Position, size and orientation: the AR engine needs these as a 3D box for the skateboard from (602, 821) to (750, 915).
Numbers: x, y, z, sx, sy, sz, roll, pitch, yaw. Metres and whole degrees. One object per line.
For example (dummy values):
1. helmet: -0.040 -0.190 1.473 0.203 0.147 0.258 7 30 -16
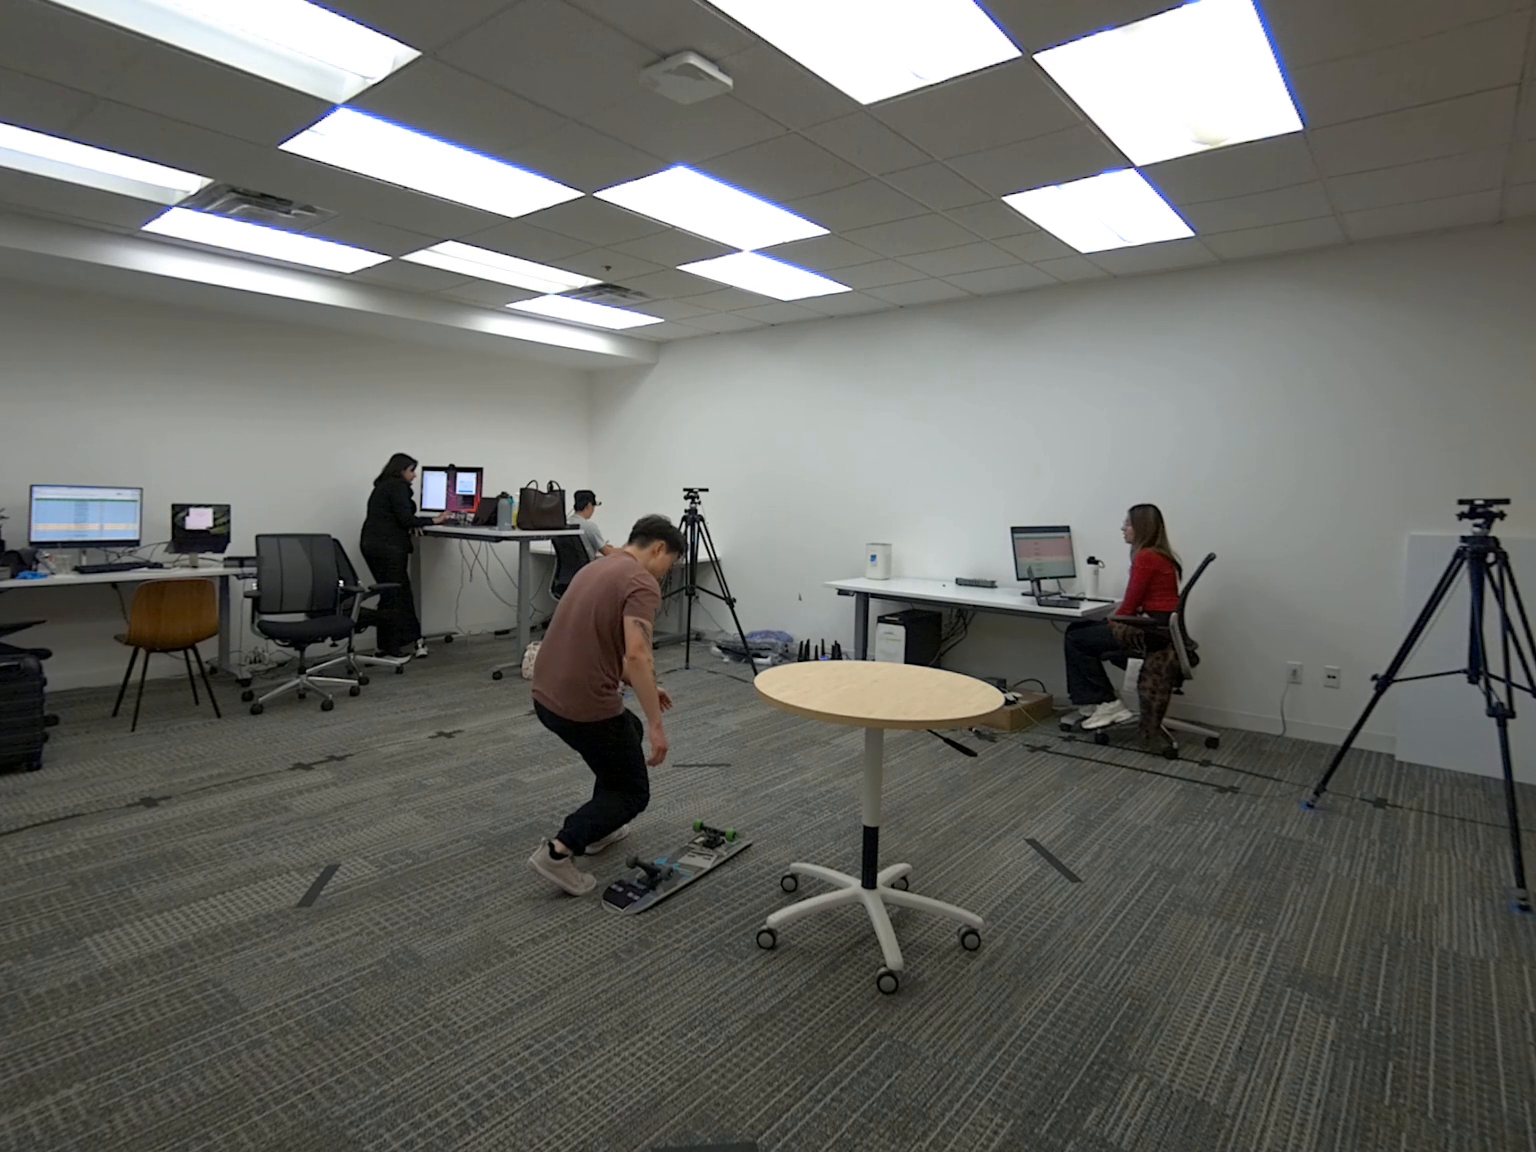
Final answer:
1. skateboard: -0.318 1.019 3.090 0.199 0.110 0.764 4 7 32
